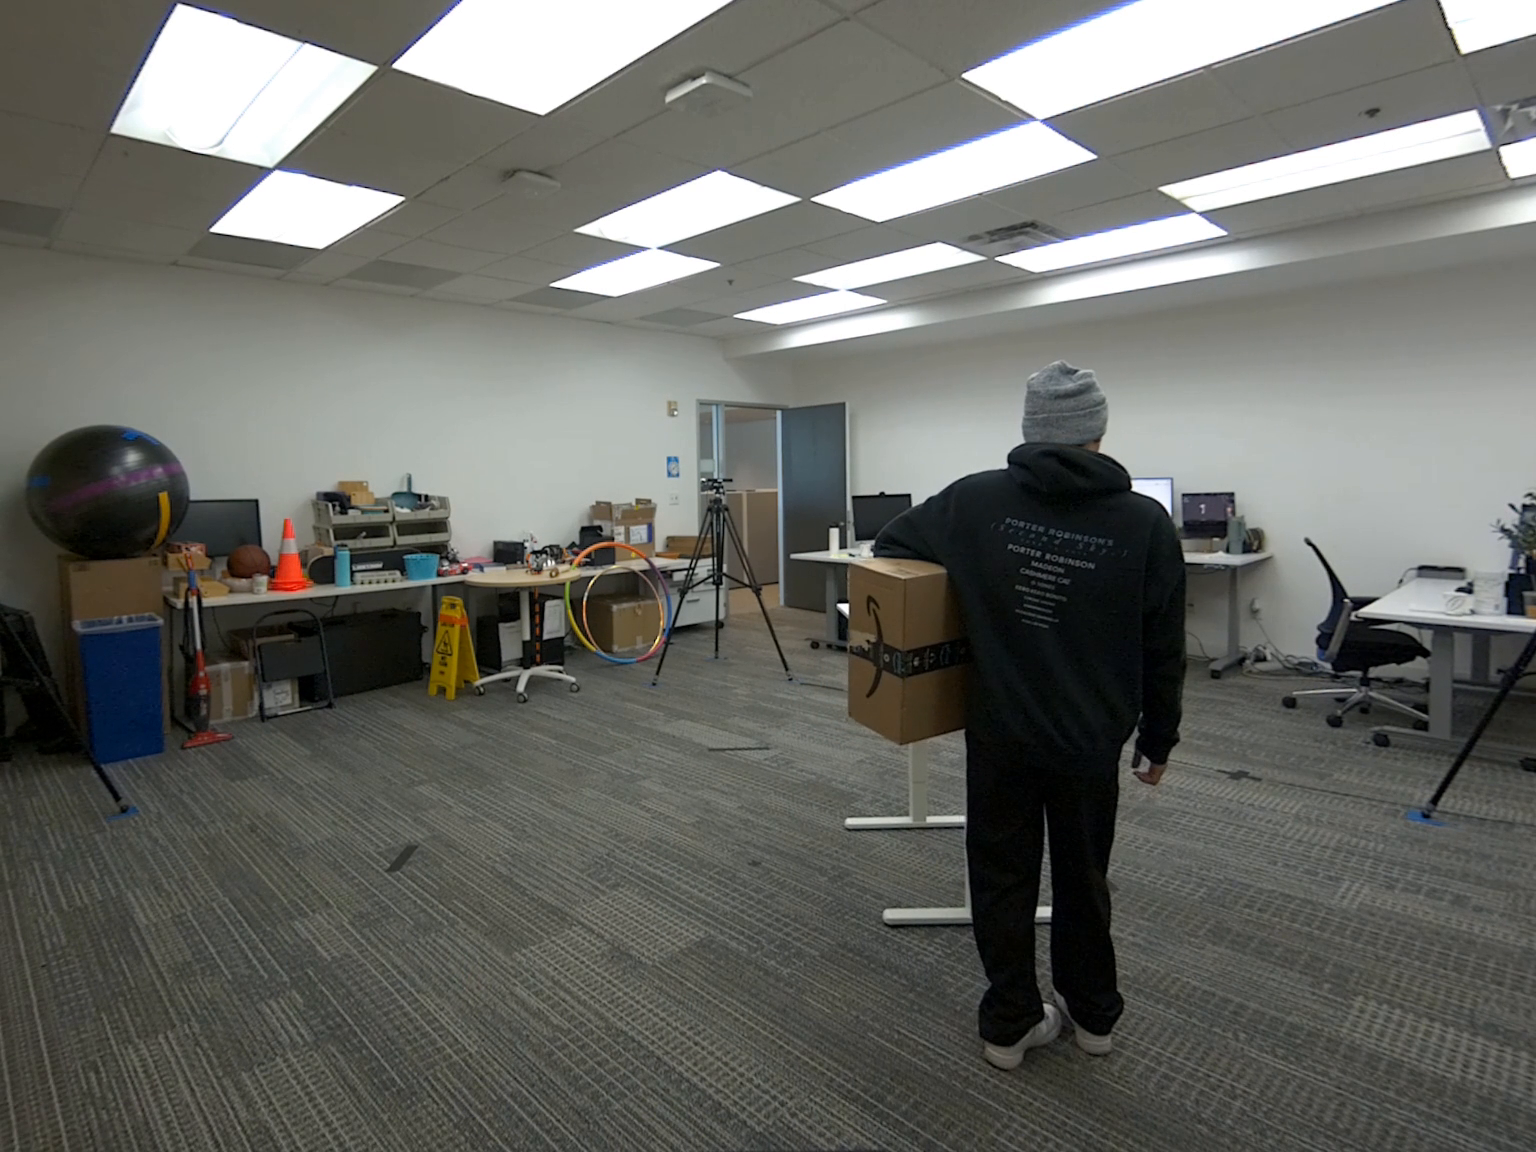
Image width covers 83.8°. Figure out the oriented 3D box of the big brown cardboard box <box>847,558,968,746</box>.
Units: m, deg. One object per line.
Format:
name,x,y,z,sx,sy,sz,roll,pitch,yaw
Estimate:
big brown cardboard box,0.510,0.154,2.222,0.576,0.414,0.240,-6,11,-30
